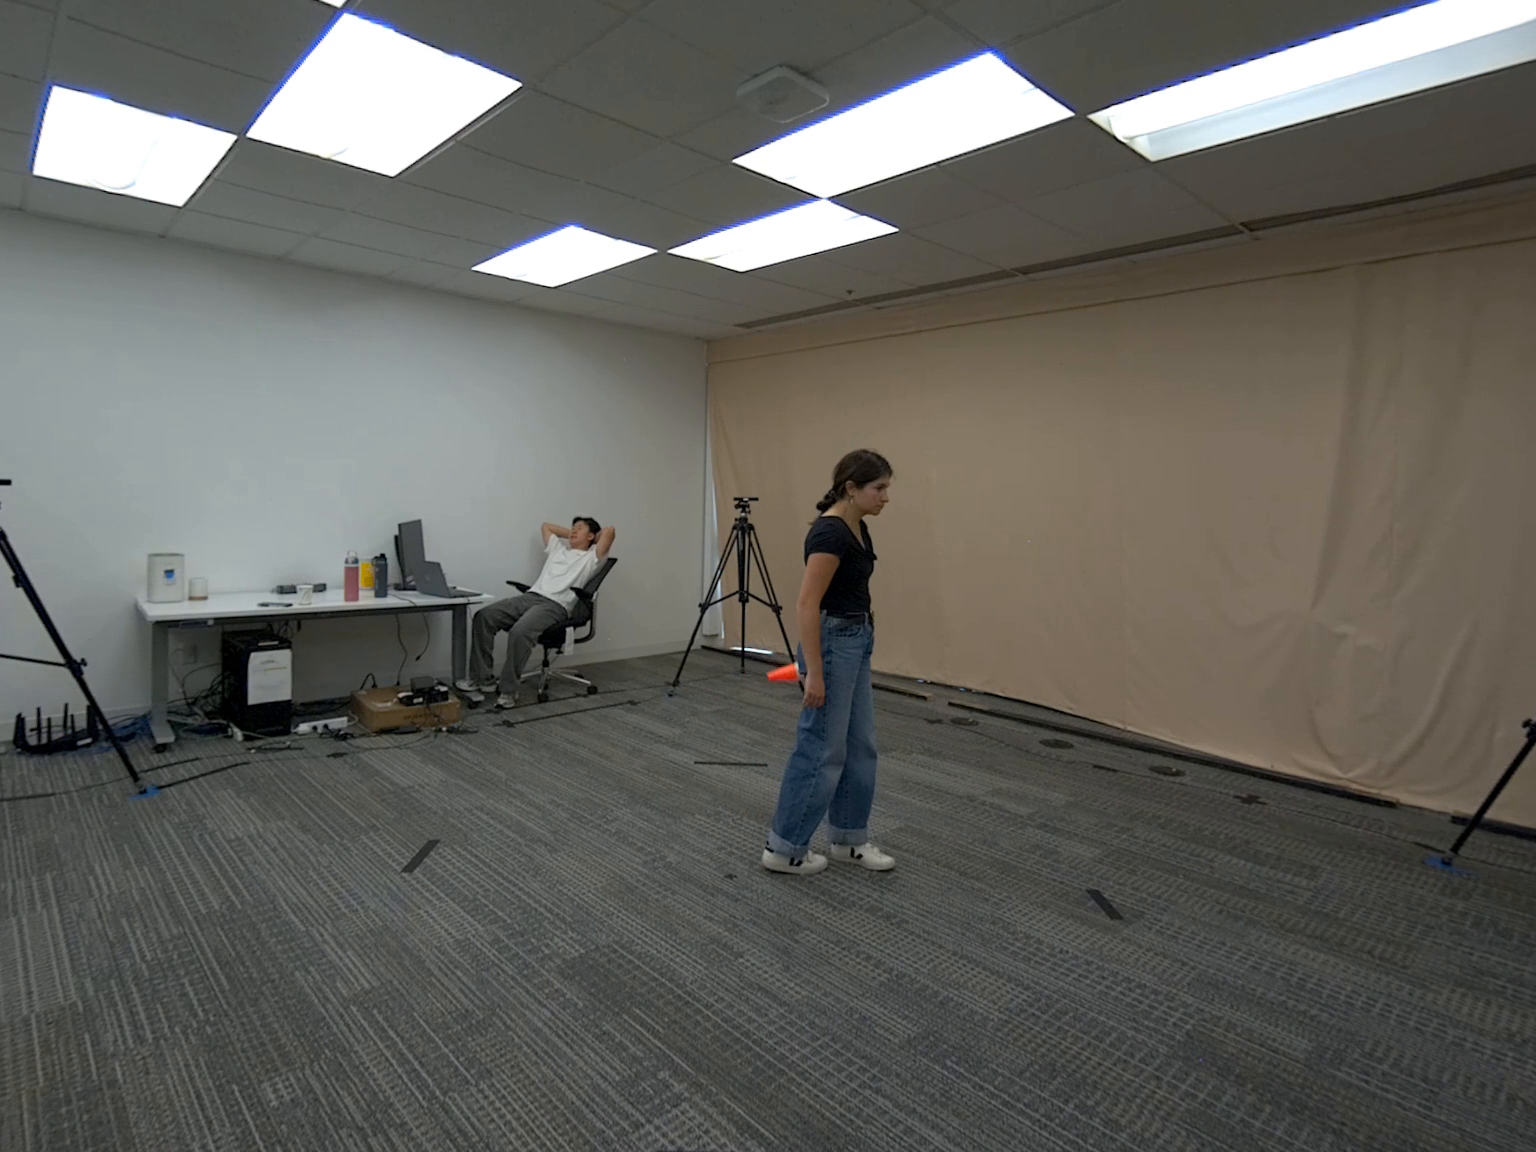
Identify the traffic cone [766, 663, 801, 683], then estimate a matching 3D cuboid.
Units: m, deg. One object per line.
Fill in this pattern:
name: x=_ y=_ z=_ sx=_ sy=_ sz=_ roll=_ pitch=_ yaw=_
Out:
traffic cone: x=0.190 y=0.391 z=3.561 sx=0.386 sy=0.204 sz=0.203 roll=-4 pitch=-3 yaw=7
